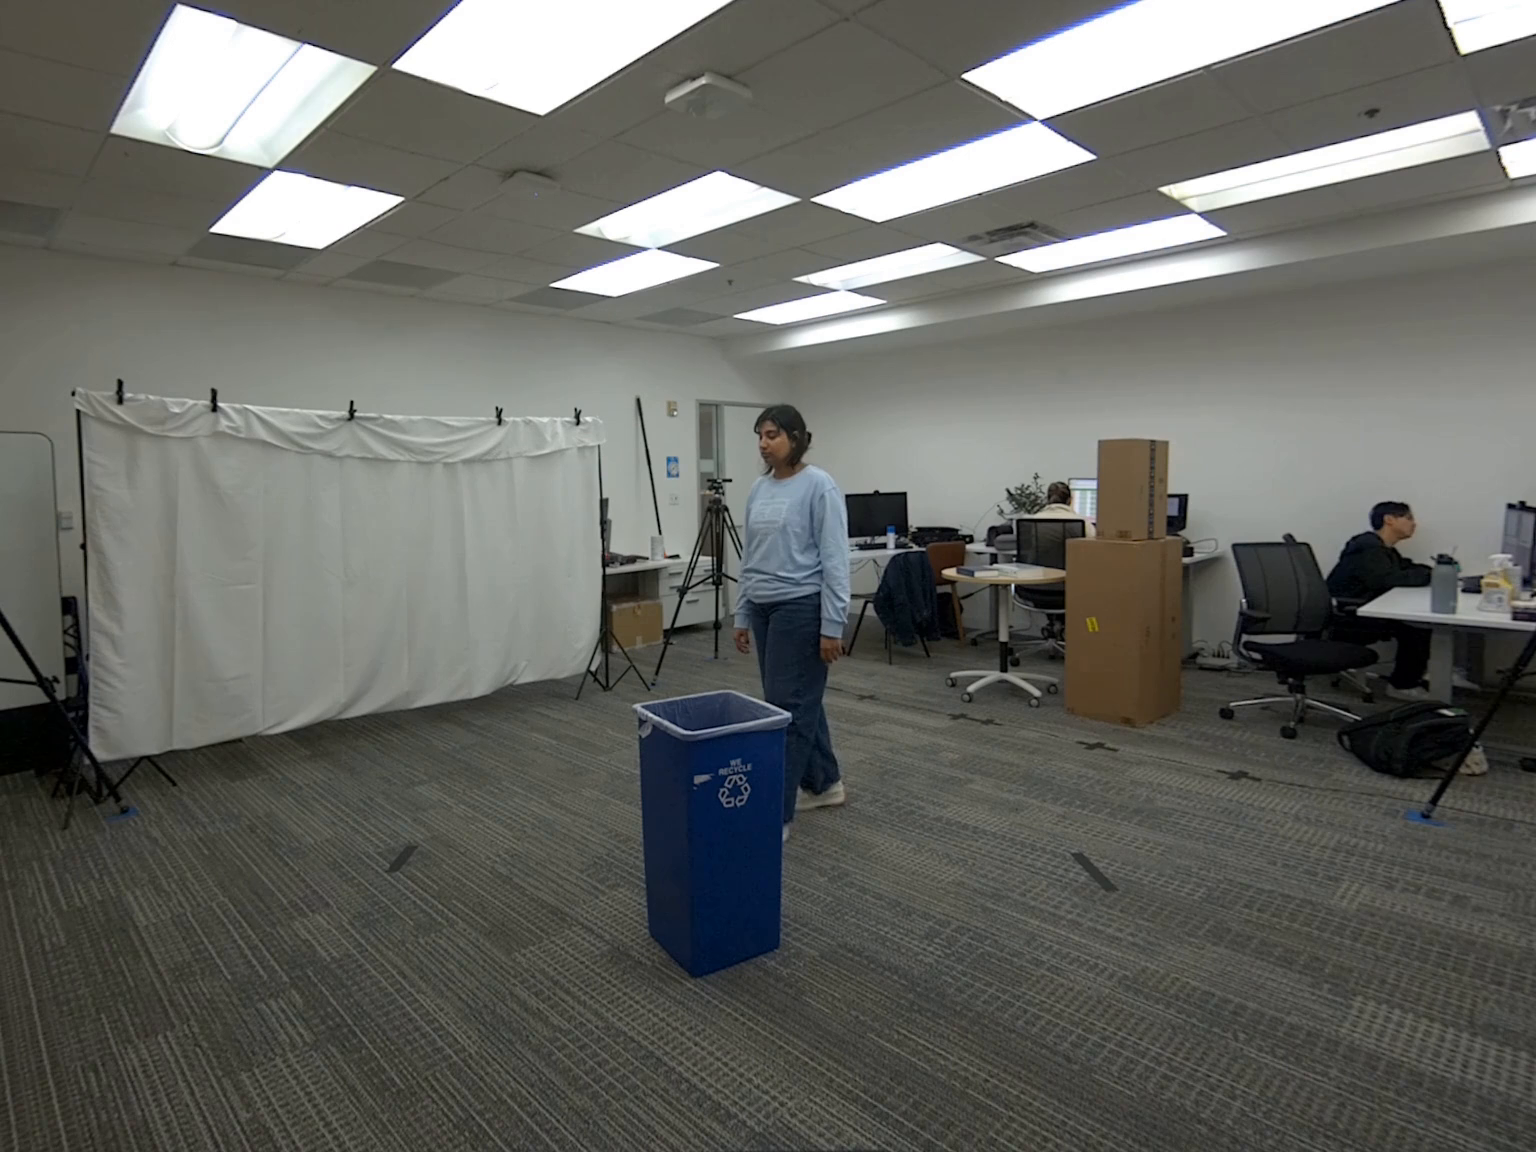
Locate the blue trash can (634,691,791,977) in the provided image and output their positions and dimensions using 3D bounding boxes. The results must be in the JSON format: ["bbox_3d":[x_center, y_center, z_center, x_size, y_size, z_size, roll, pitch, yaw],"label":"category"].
[{"bbox_3d":[-0.165,0.754,2.579,0.365,0.710,0.389,-4,6,-32],"label":"blue trash can"}]
